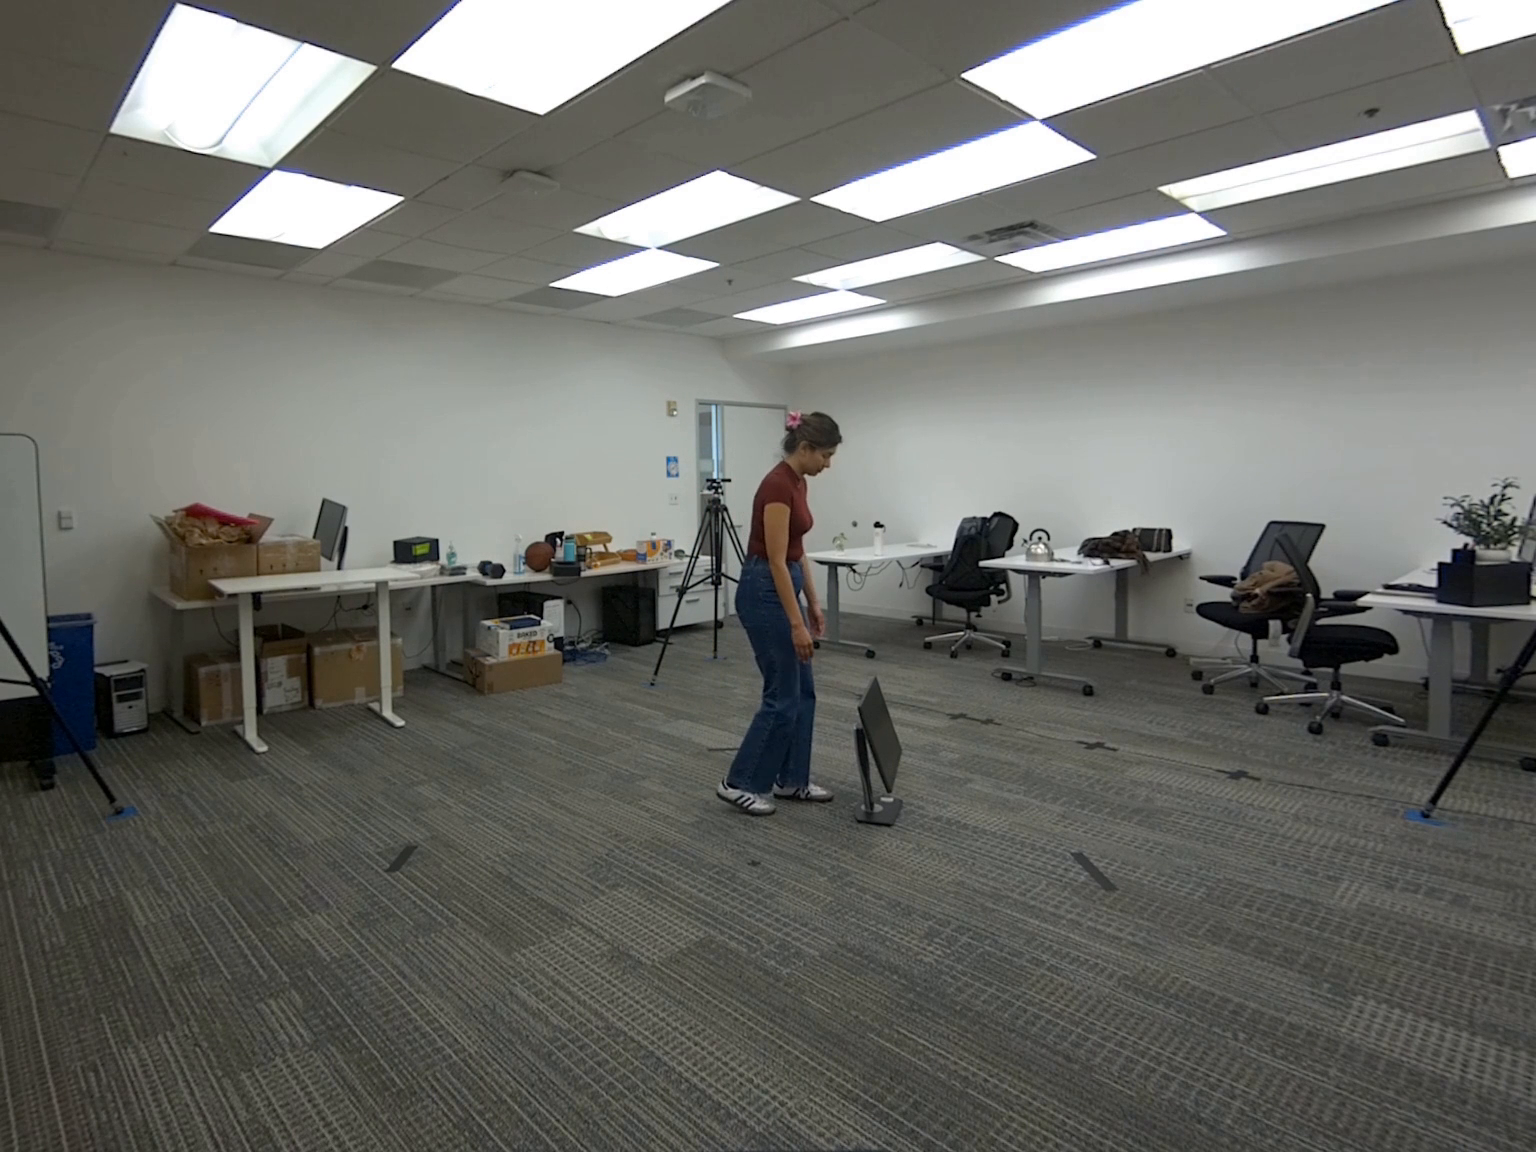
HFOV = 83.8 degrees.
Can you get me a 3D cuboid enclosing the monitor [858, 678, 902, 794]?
[{"bbox_3d":[0.443,0.732,3.546,0.189,0.521,0.533,-3,4,13],"label":"monitor"}]
